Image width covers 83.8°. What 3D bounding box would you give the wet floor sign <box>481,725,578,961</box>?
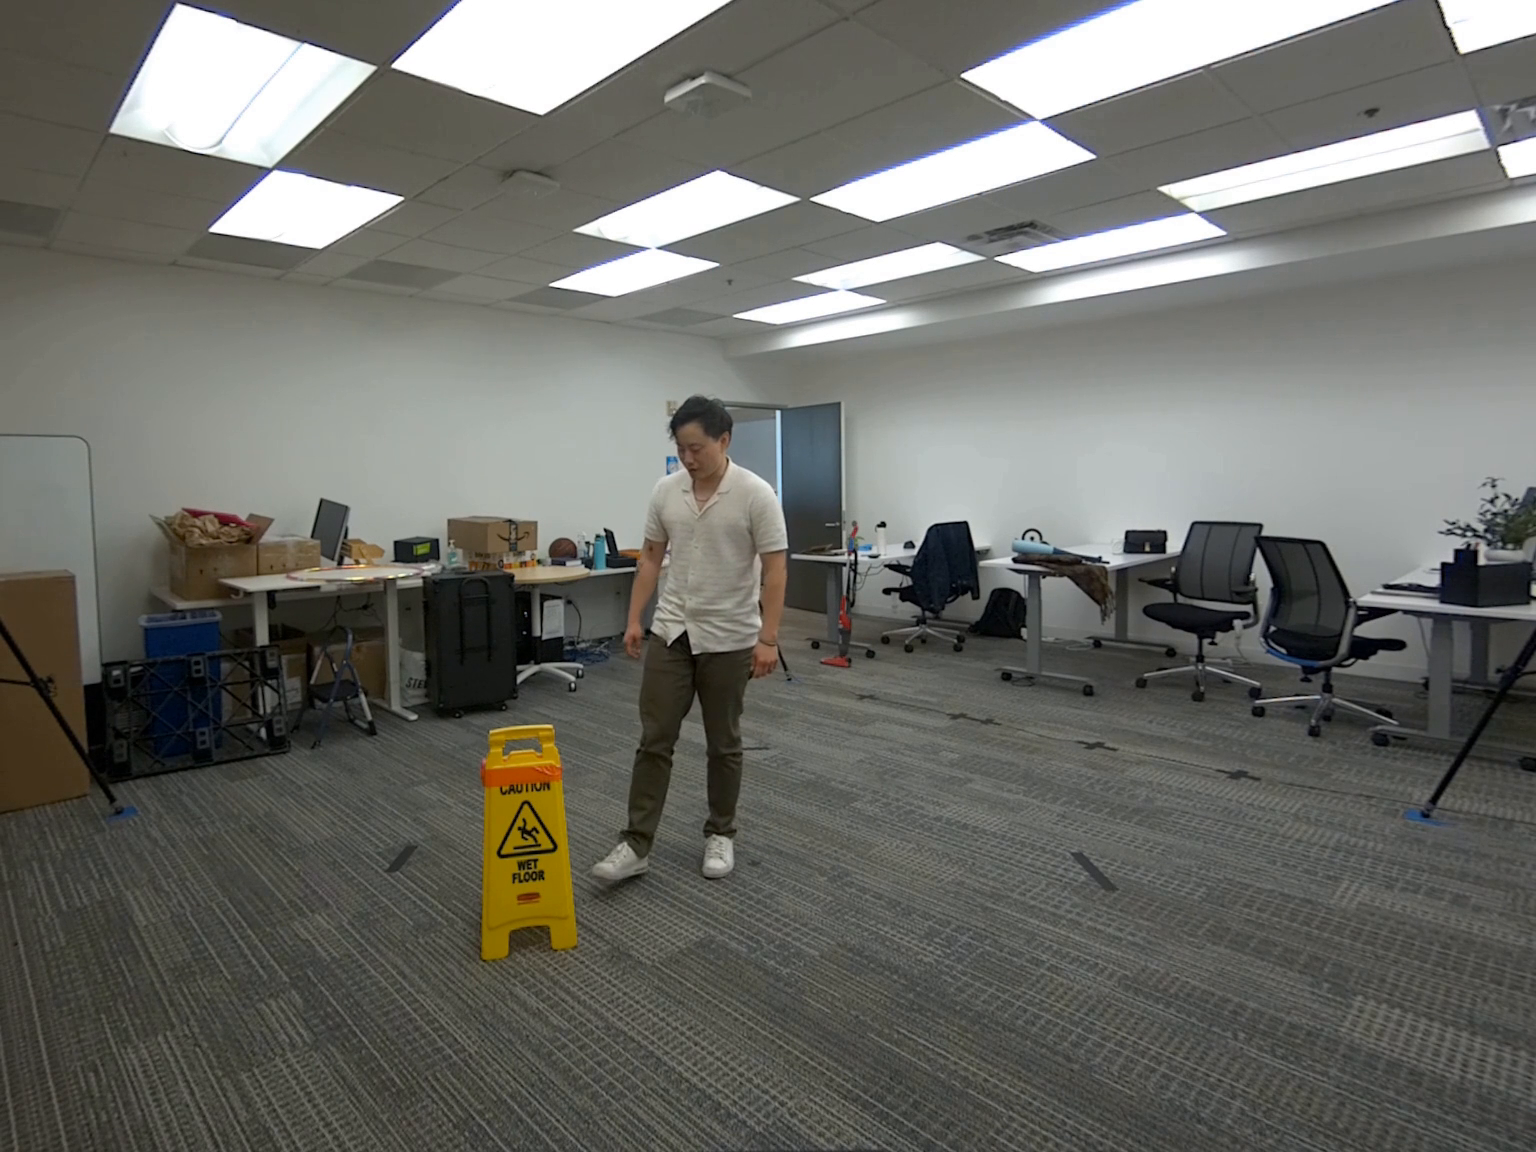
[{"bbox_3d":[-0.755,0.786,2.657,0.278,0.644,0.295,-3,4,-15],"label":"wet floor sign"}]
